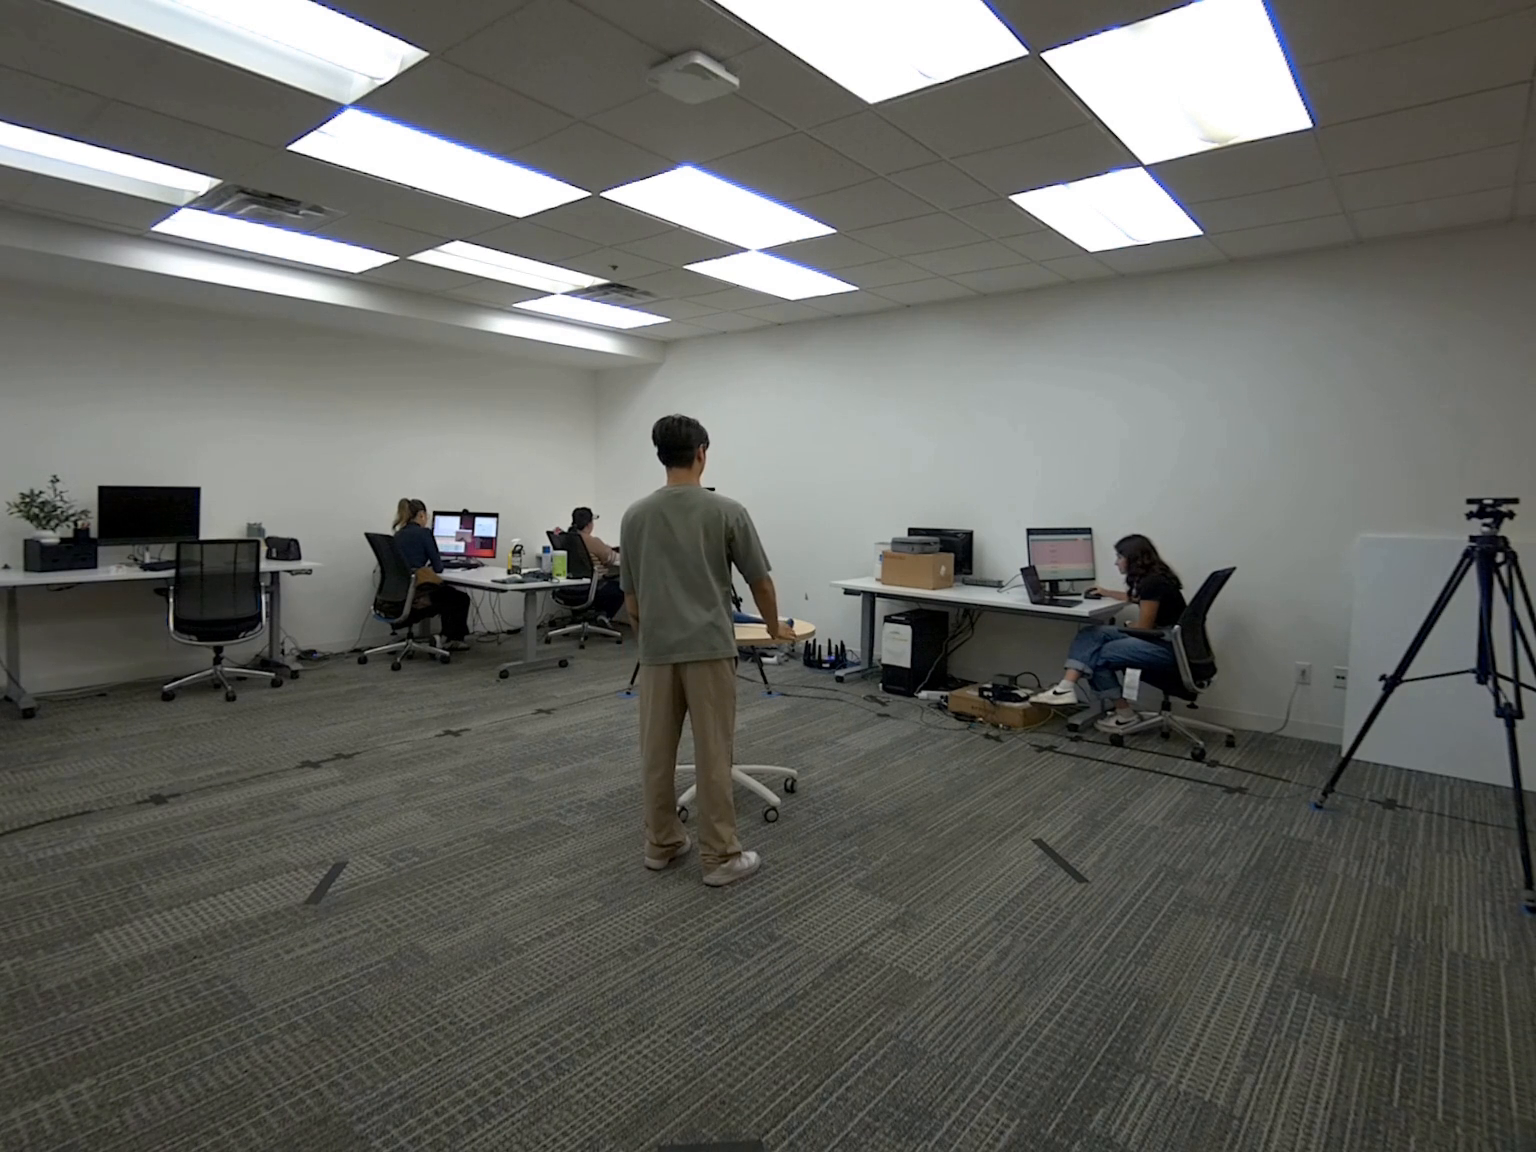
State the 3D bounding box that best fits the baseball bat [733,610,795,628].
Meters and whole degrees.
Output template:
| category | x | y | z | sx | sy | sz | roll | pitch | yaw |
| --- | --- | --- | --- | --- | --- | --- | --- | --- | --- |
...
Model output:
| category | x | y | z | sx | sy | sz | roll | pitch | yaw |
| --- | --- | --- | --- | --- | --- | --- | --- | --- | --- |
| baseball bat | -0.154 | 0.181 | 3.776 | 0.556 | 0.089 | 0.087 | 6 | 6 | 22 |
